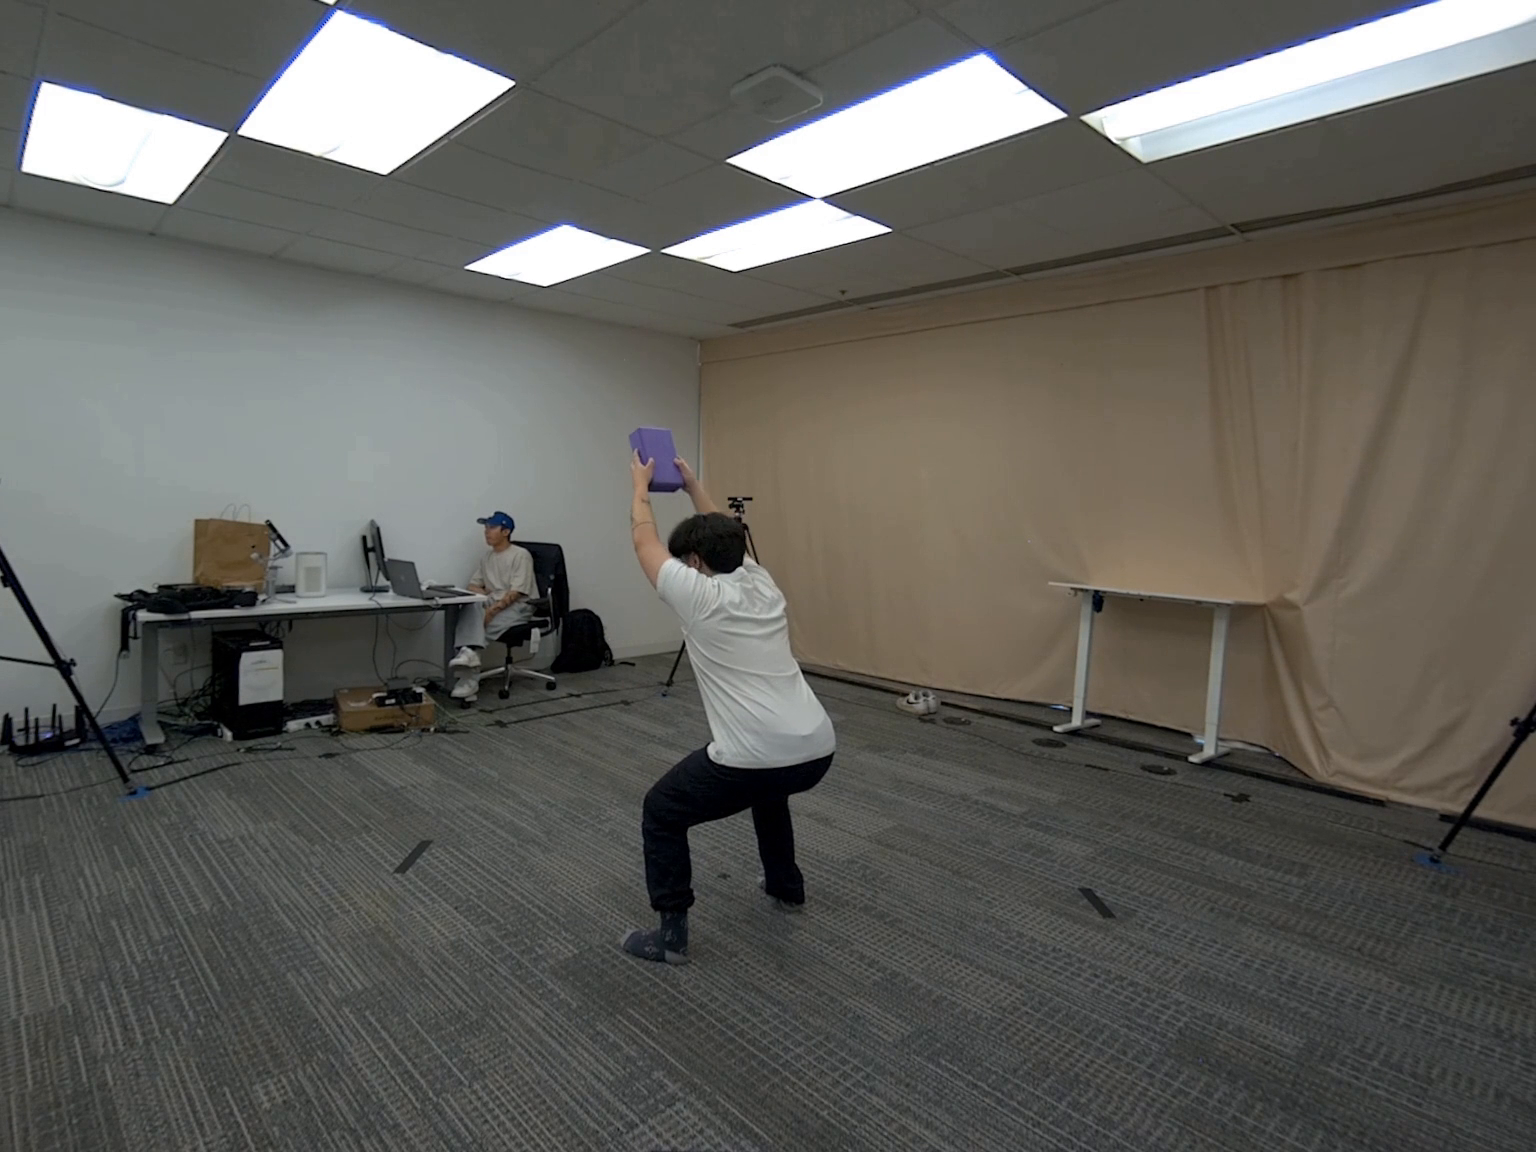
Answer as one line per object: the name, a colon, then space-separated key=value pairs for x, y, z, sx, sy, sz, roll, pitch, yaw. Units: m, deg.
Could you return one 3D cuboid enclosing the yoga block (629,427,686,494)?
yoga block: x=-0.414 y=-0.409 z=3.033 sx=0.145 sy=0.233 sz=0.077 roll=-1 pitch=-23 yaw=-42
